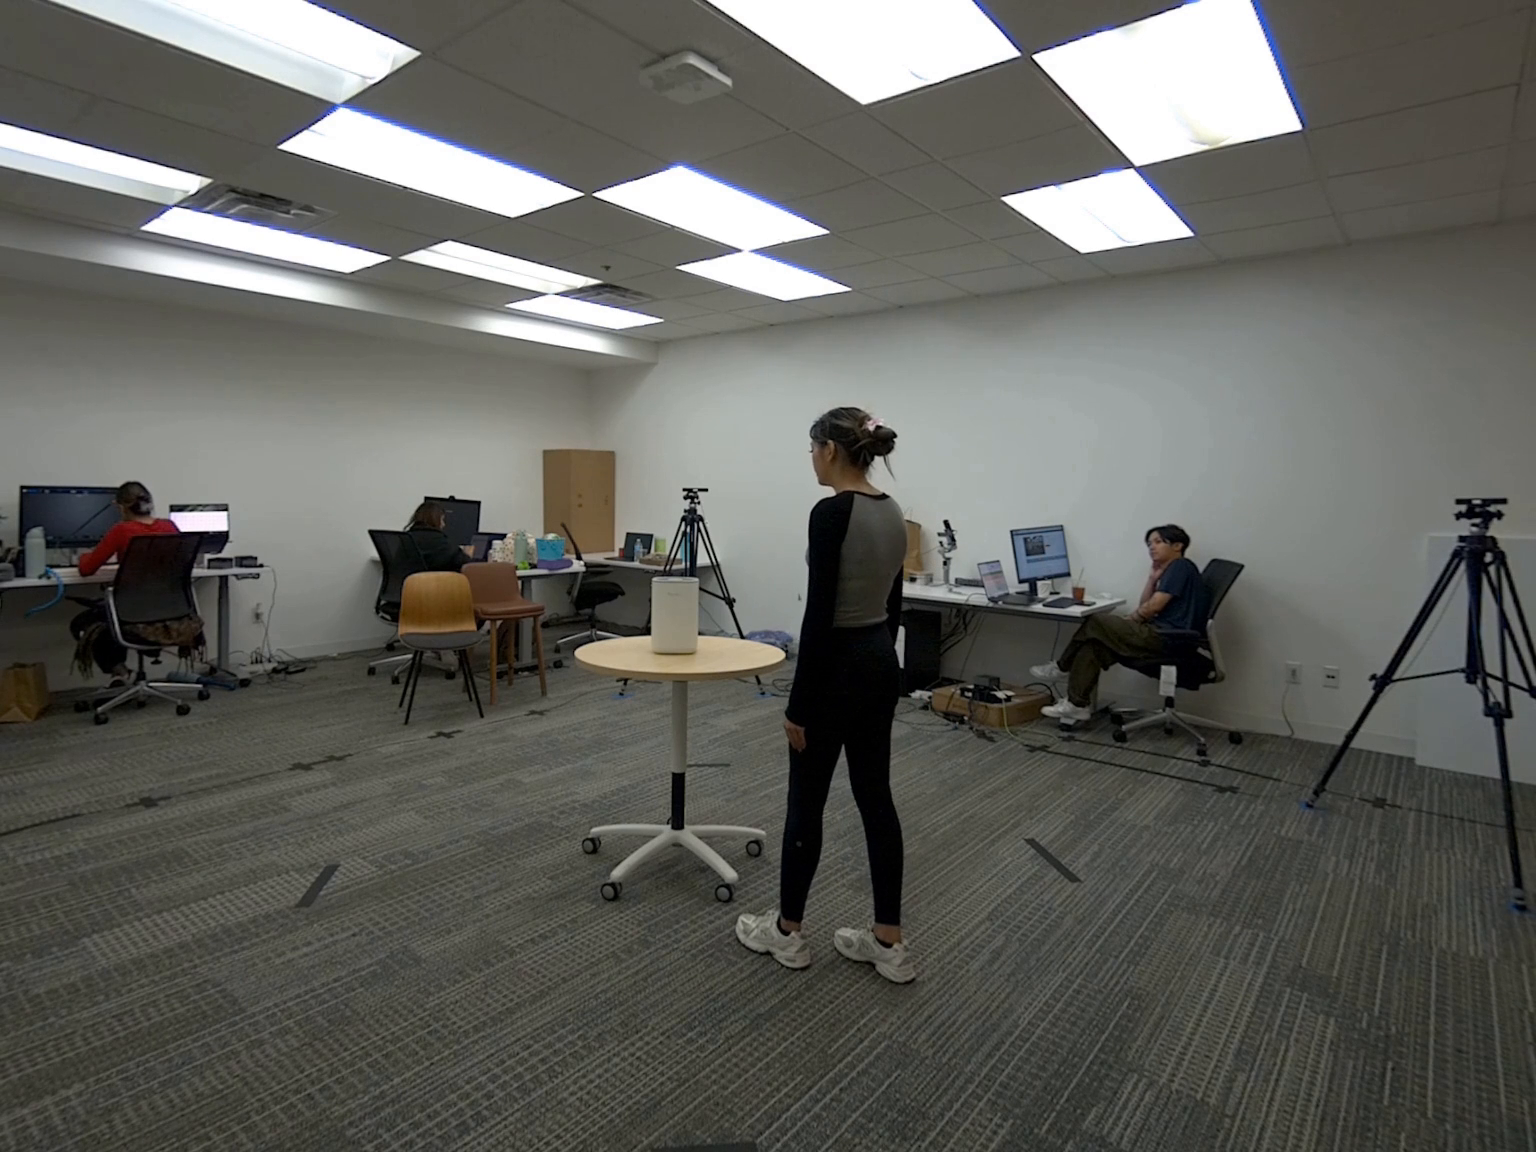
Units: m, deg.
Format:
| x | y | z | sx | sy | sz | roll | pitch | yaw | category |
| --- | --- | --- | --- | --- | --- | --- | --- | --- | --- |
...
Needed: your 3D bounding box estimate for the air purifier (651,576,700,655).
| x | y | z | sx | sy | sz | roll | pitch | yaw | category |
| --- | --- | --- | --- | --- | --- | --- | --- | --- | --- |
| -0.353 | 0.142 | 3.112 | 0.170 | 0.264 | 0.173 | -1 | 4 | -8 | air purifier |
